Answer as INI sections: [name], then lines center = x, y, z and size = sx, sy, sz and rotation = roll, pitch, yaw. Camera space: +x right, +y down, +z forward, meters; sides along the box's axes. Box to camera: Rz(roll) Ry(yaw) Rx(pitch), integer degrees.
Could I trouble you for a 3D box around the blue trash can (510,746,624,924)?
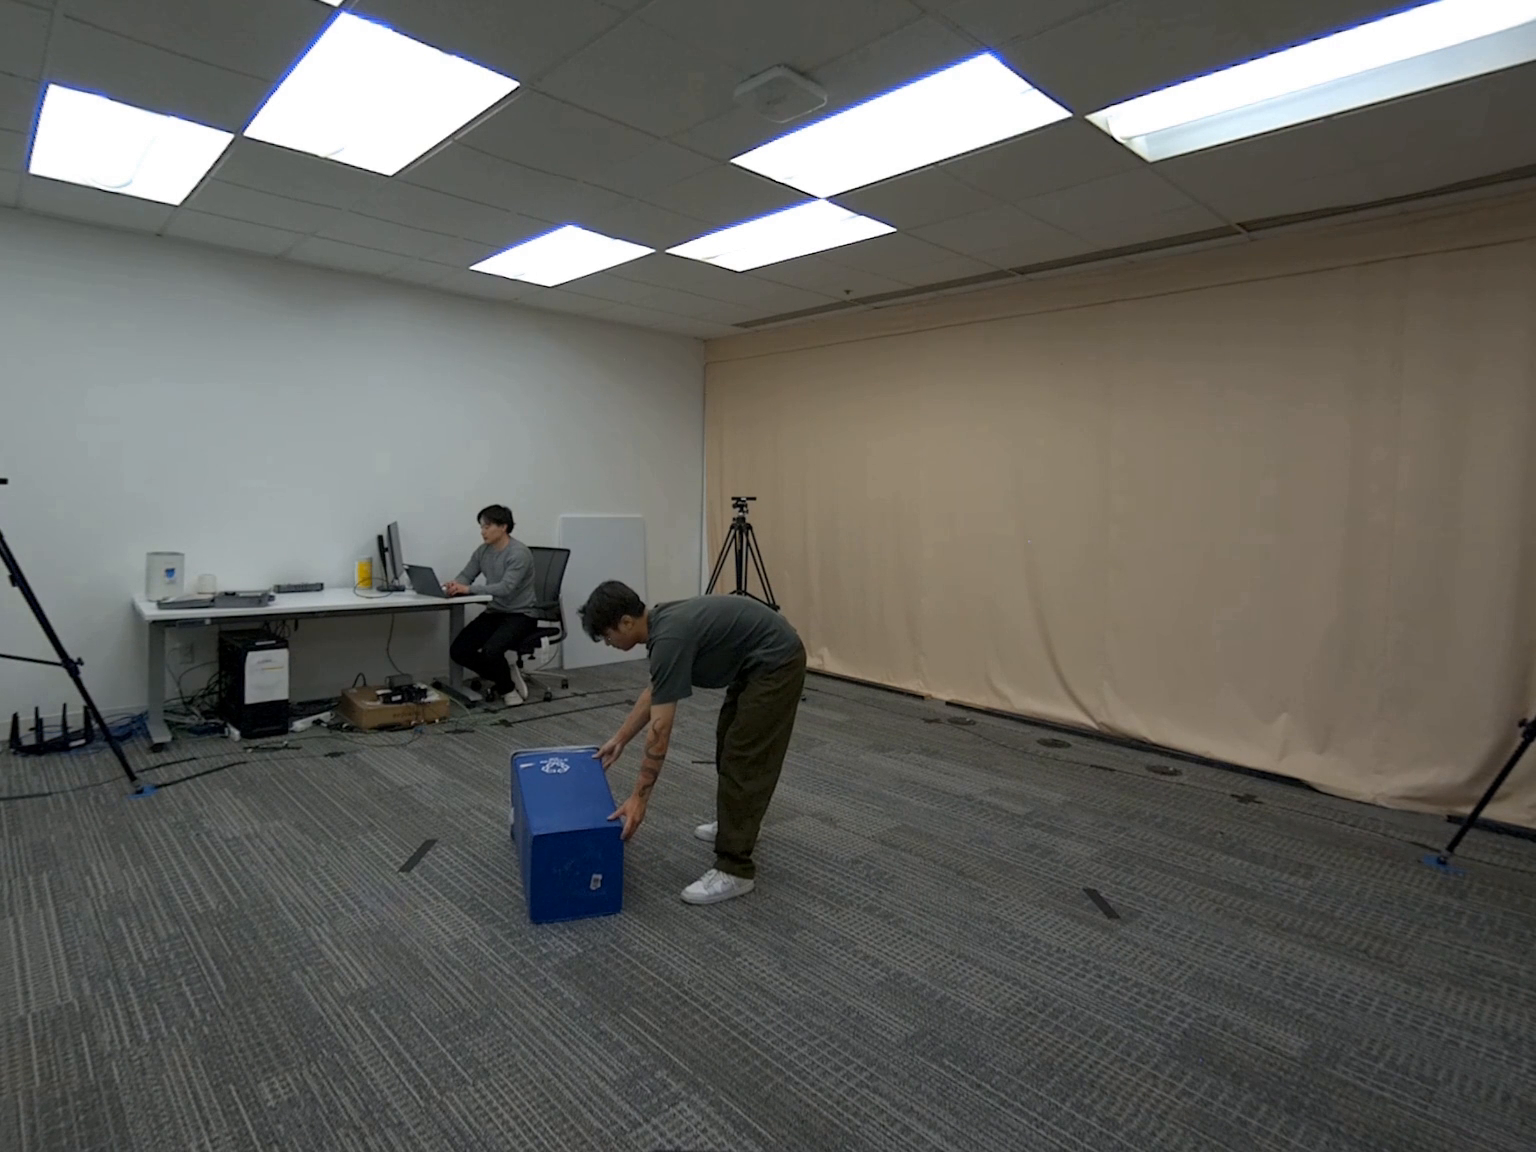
[blue trash can]
center = -0.749, 0.922, 3.075
size = 0.372, 0.372, 0.727
rotation = 1, 7, -20
